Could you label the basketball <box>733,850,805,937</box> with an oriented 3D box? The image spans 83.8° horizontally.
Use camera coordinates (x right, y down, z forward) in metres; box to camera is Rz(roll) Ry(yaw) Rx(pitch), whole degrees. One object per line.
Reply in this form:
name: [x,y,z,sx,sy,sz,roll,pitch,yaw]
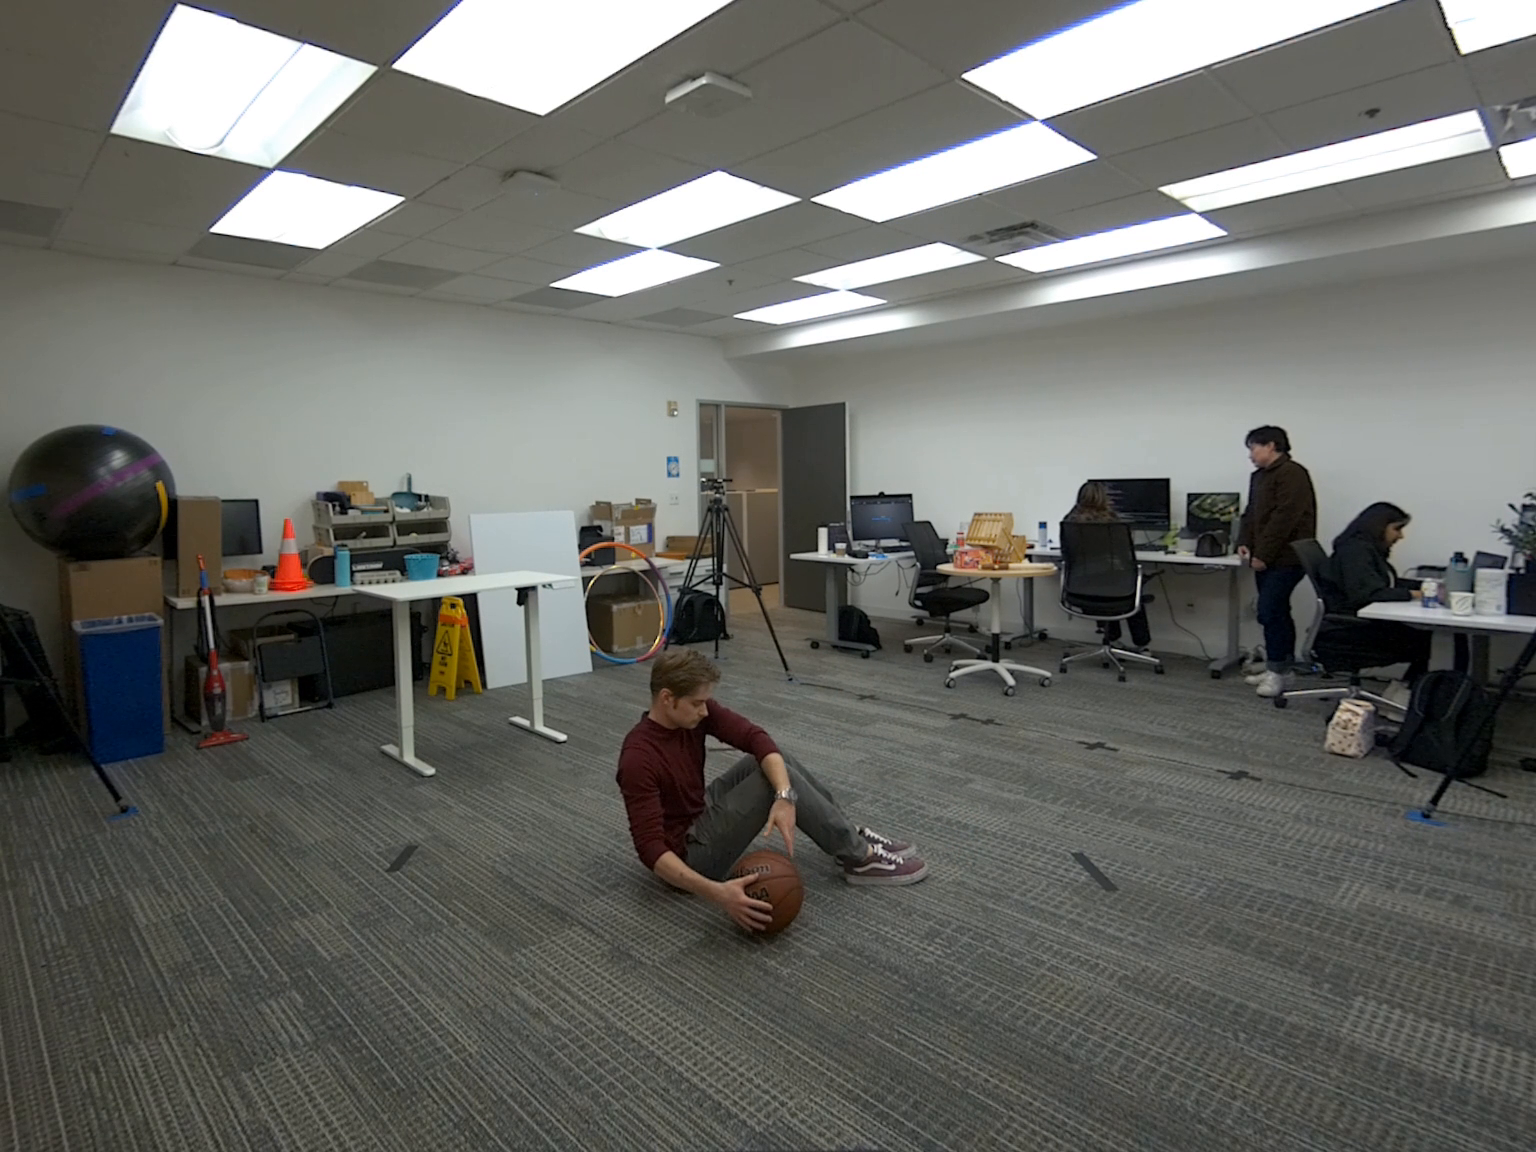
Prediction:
basketball: [-0.013,0.981,2.657,0.236,0.235,0.237,-1,5,-2]
